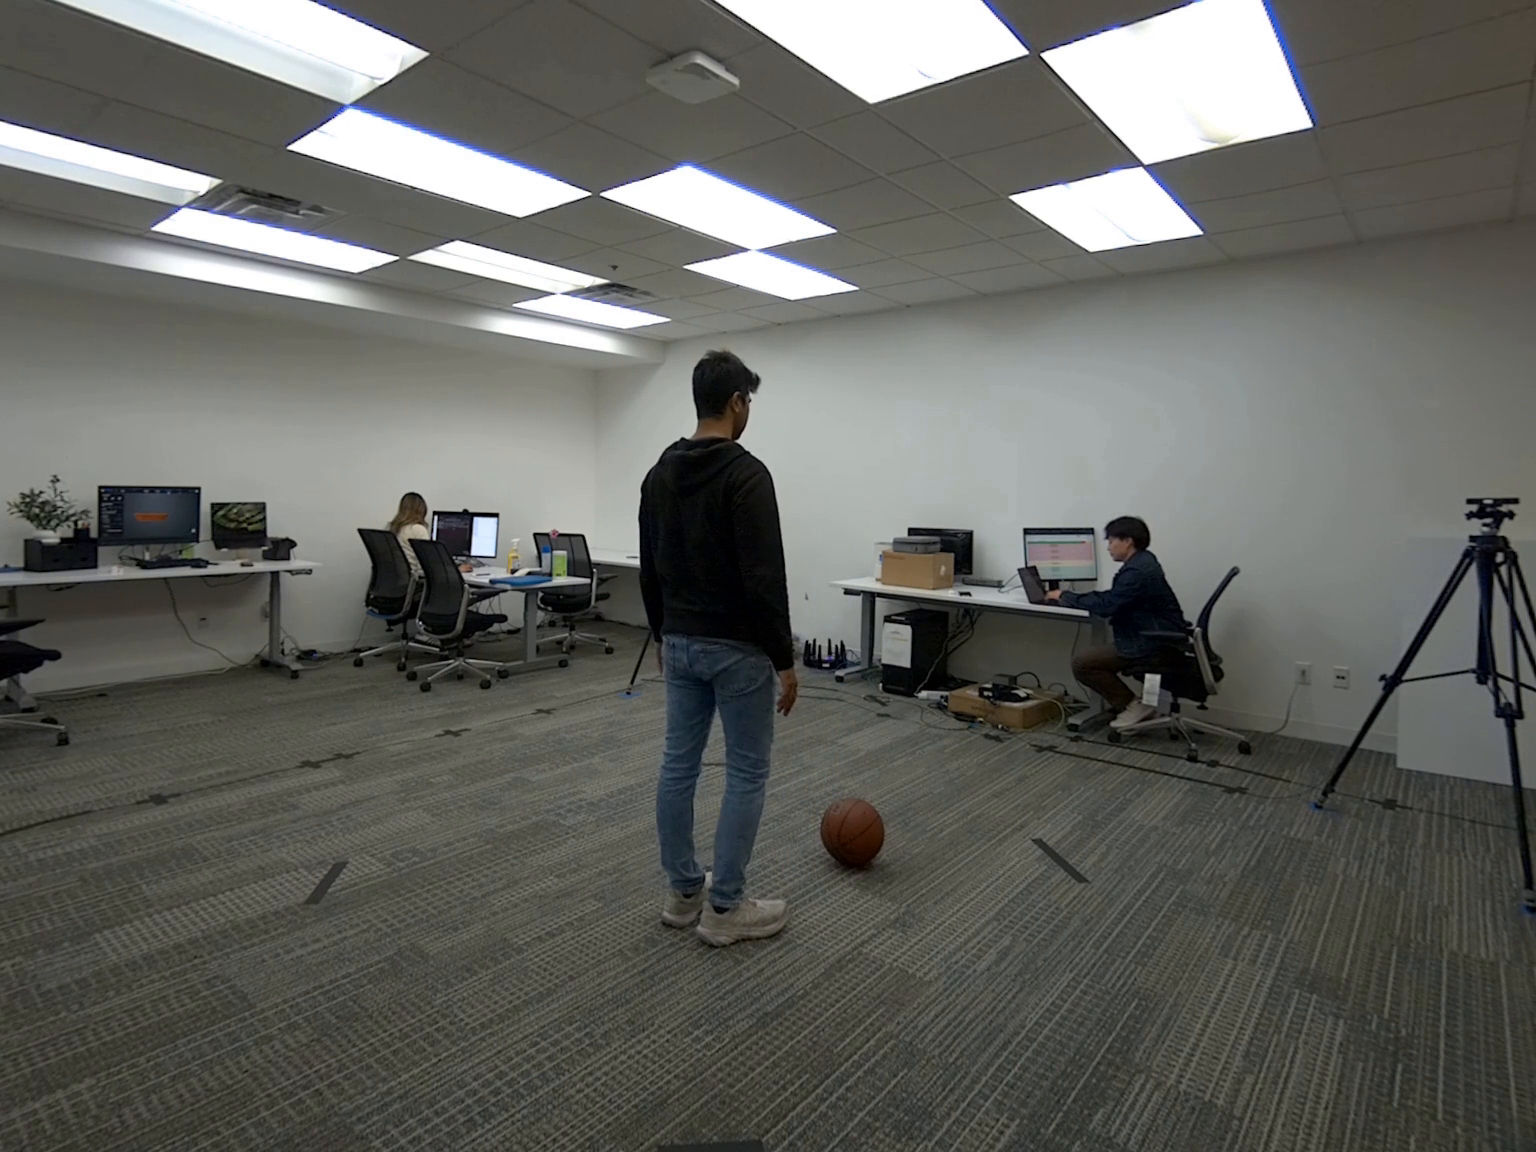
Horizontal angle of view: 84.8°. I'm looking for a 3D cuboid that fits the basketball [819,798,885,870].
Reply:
[{"bbox_3d":[0.306,0.951,3.183,0.235,0.235,0.237,1,4,-2],"label":"basketball"}]
